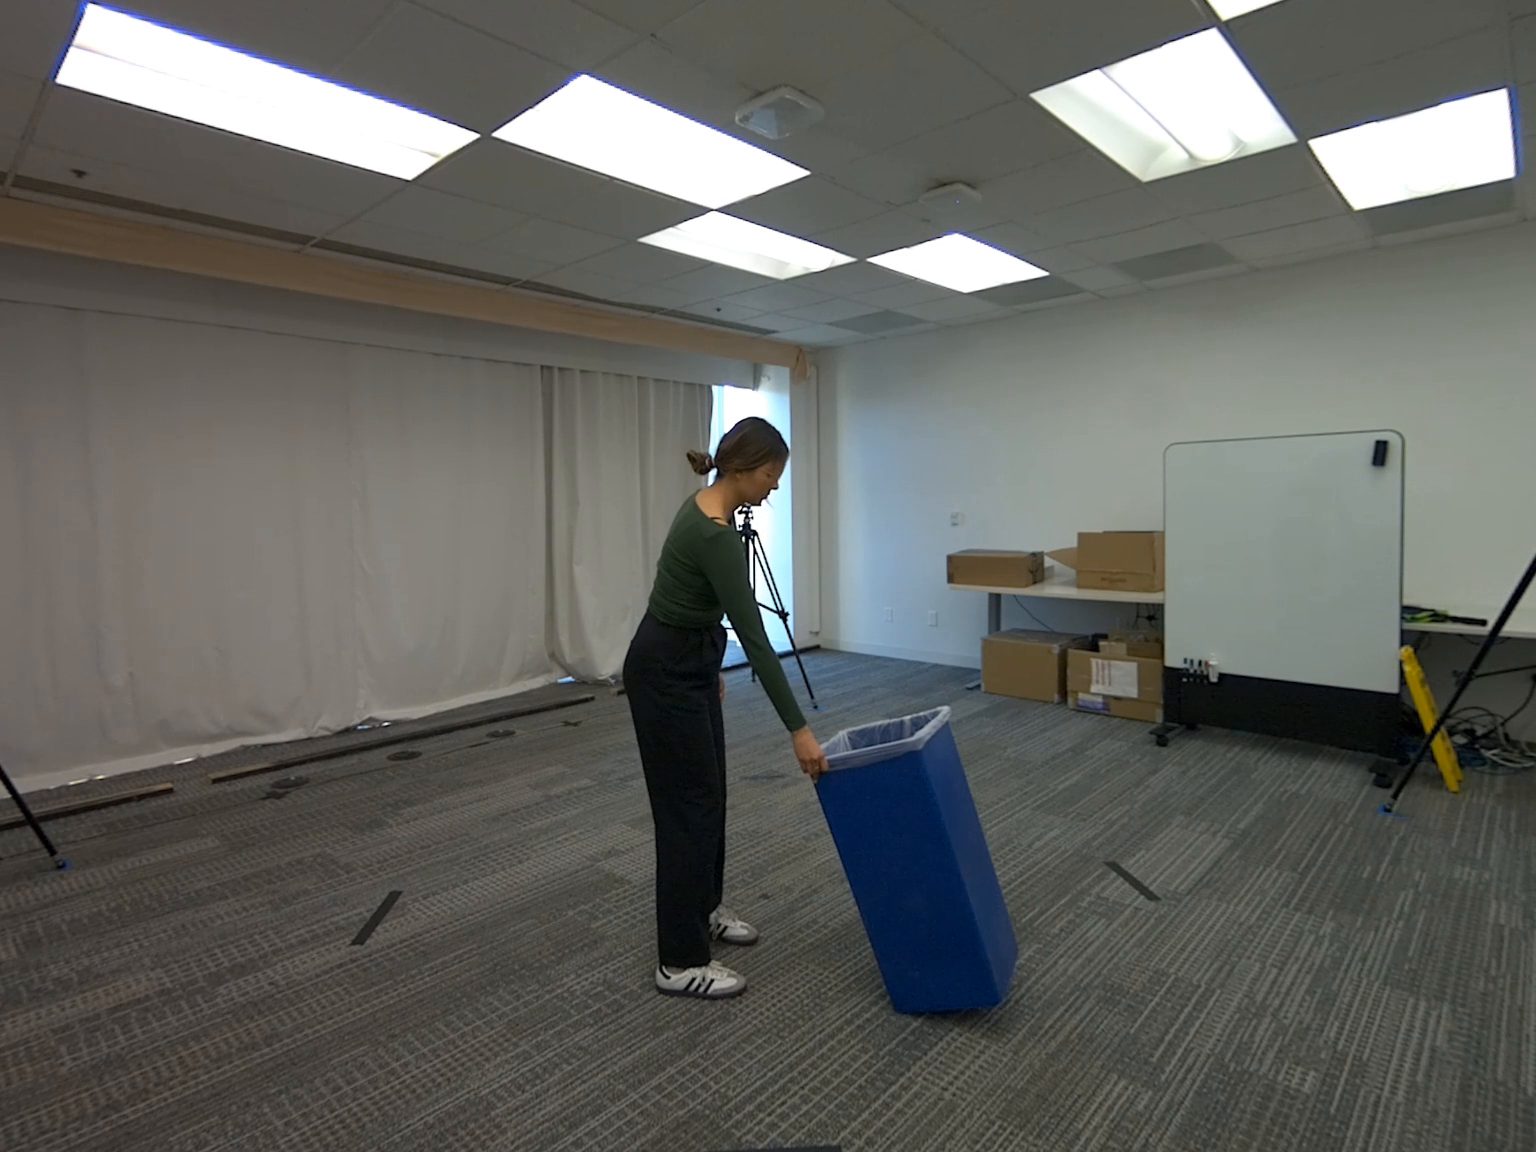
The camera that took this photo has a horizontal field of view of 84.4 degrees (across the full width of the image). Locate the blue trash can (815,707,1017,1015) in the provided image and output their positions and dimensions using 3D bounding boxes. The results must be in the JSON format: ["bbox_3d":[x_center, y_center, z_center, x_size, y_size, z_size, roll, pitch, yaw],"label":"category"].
[{"bbox_3d":[0.440,0.794,2.384,0.381,0.717,0.369,-21,-6,26],"label":"blue trash can"}]
